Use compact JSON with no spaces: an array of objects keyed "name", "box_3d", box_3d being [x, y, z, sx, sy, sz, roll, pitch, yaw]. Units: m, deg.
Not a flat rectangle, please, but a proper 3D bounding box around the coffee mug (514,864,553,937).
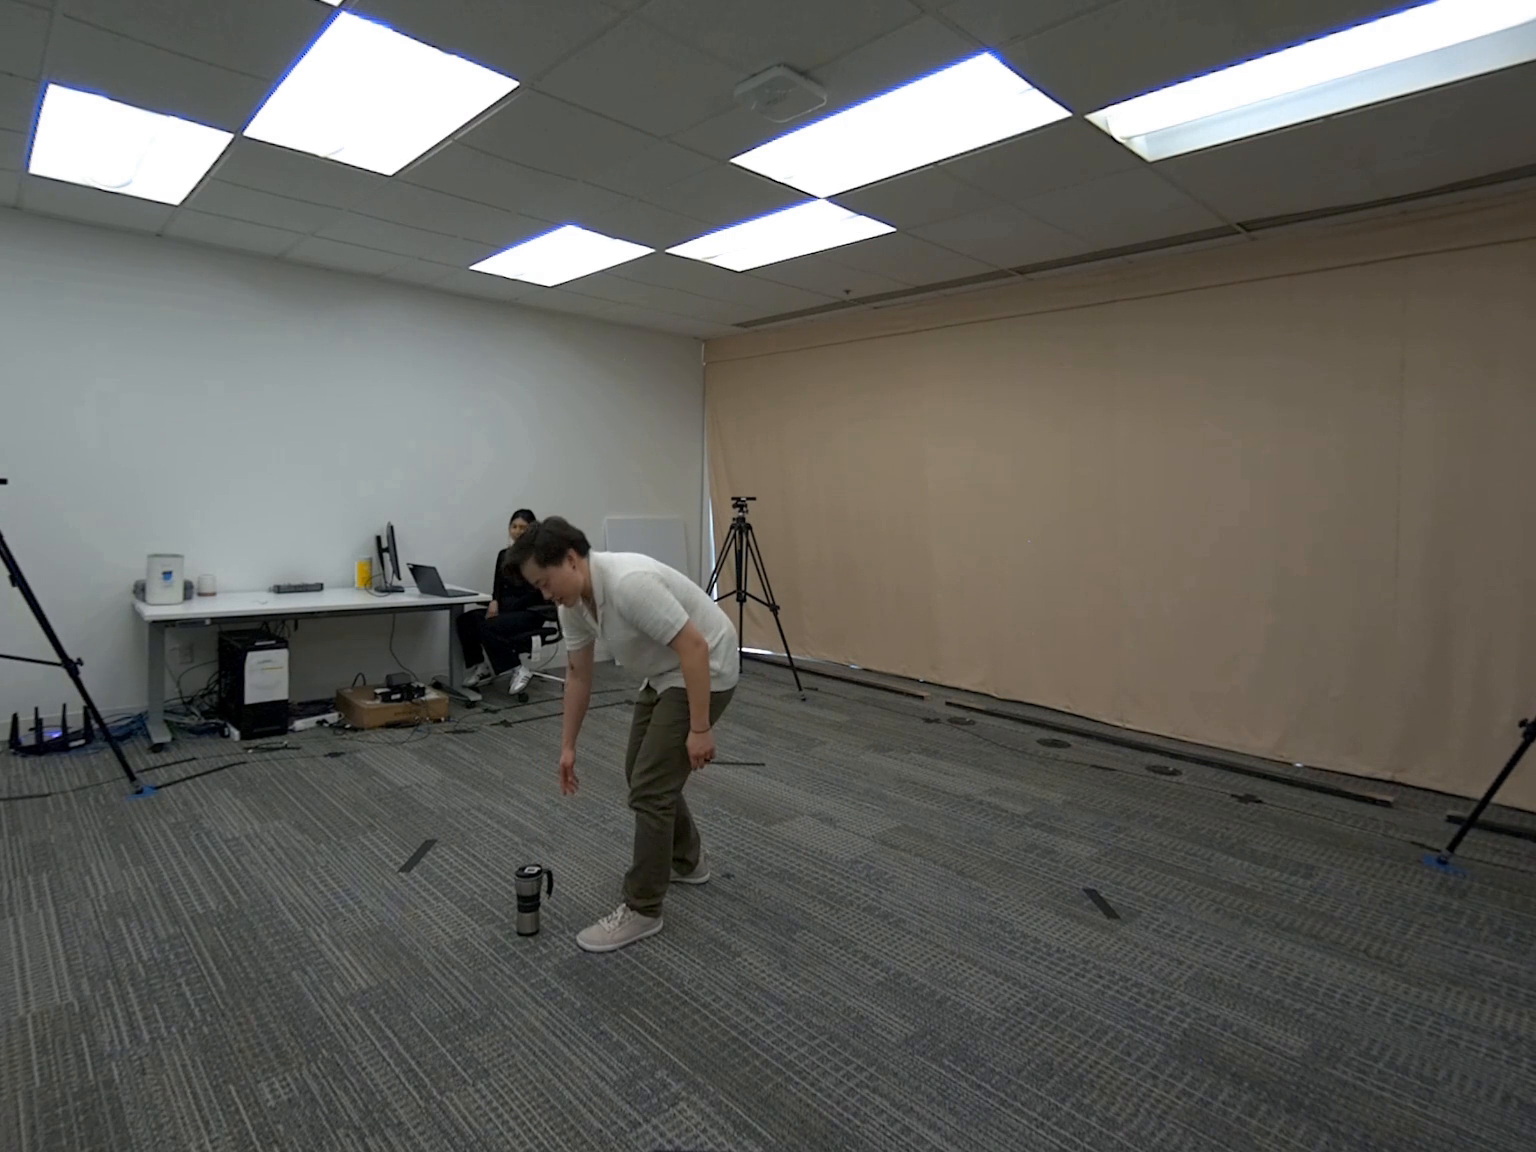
[{"name":"coffee mug","box_3d":[-0.740,1.029,2.679,0.121,0.203,0.089,-2,2,-13]}]
